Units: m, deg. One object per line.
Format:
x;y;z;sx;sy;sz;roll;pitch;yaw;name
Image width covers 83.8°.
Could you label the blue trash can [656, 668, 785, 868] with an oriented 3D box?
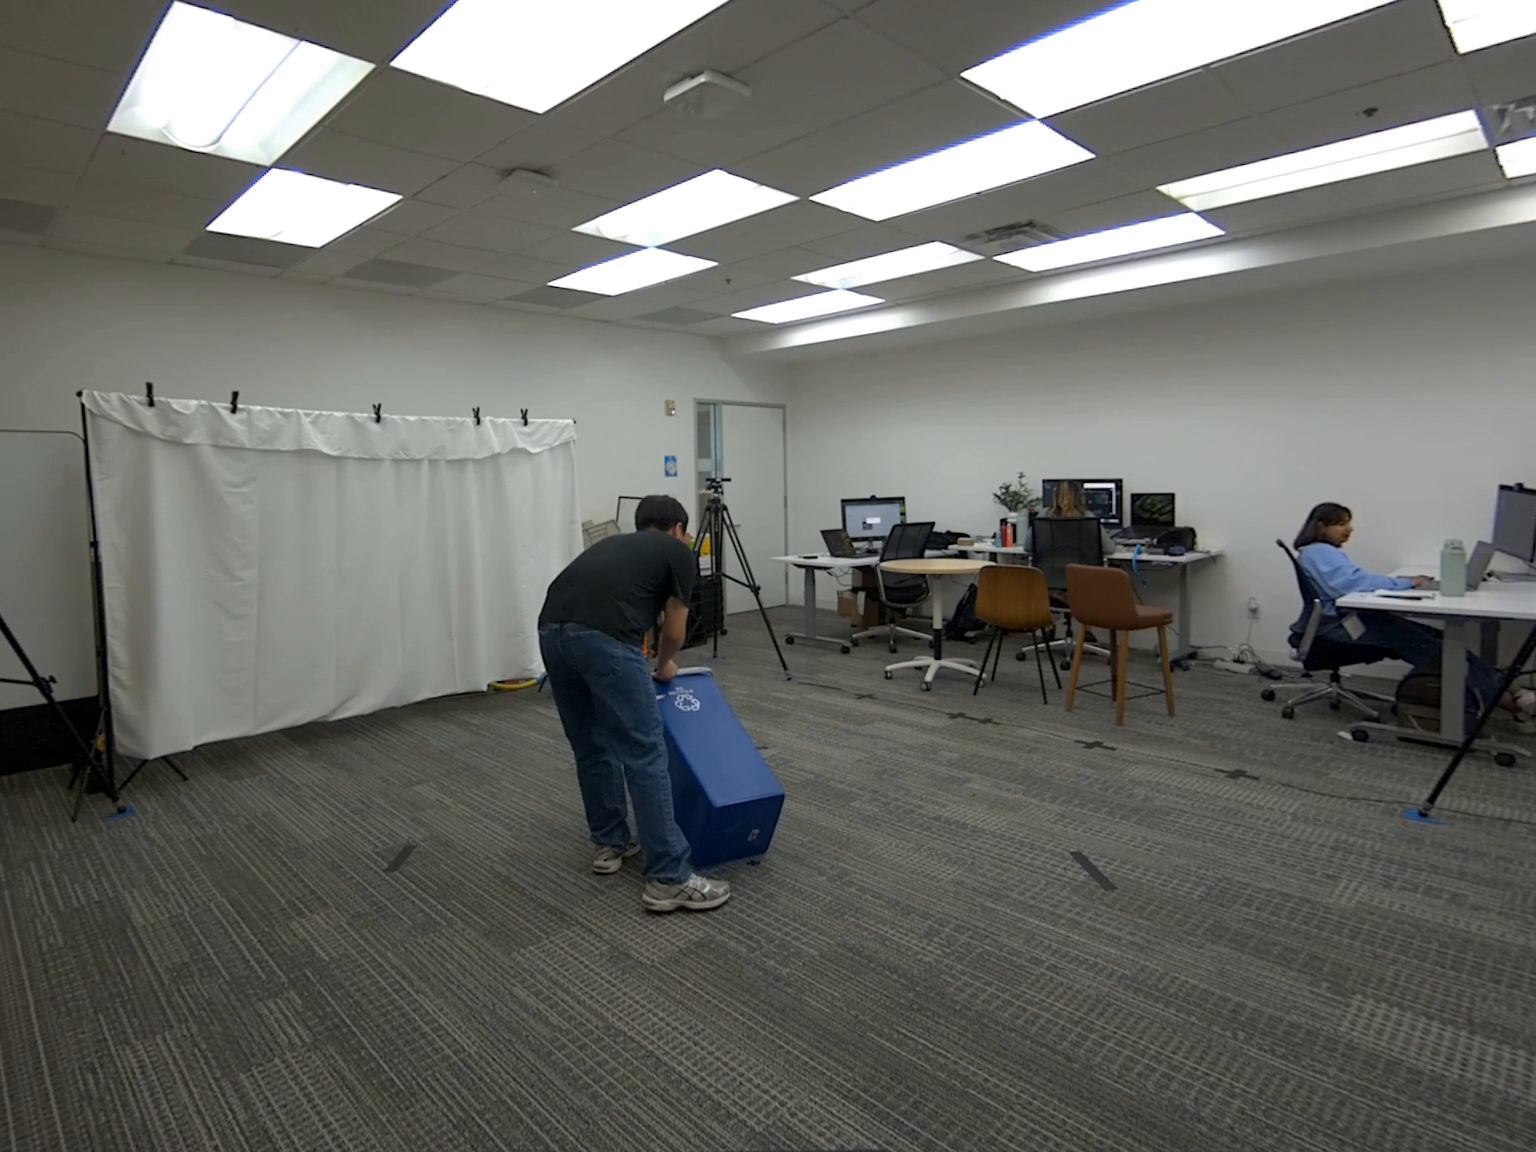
-0.261;0.730;3.330;0.365;0.372;0.742;-1;31;-31;blue trash can
